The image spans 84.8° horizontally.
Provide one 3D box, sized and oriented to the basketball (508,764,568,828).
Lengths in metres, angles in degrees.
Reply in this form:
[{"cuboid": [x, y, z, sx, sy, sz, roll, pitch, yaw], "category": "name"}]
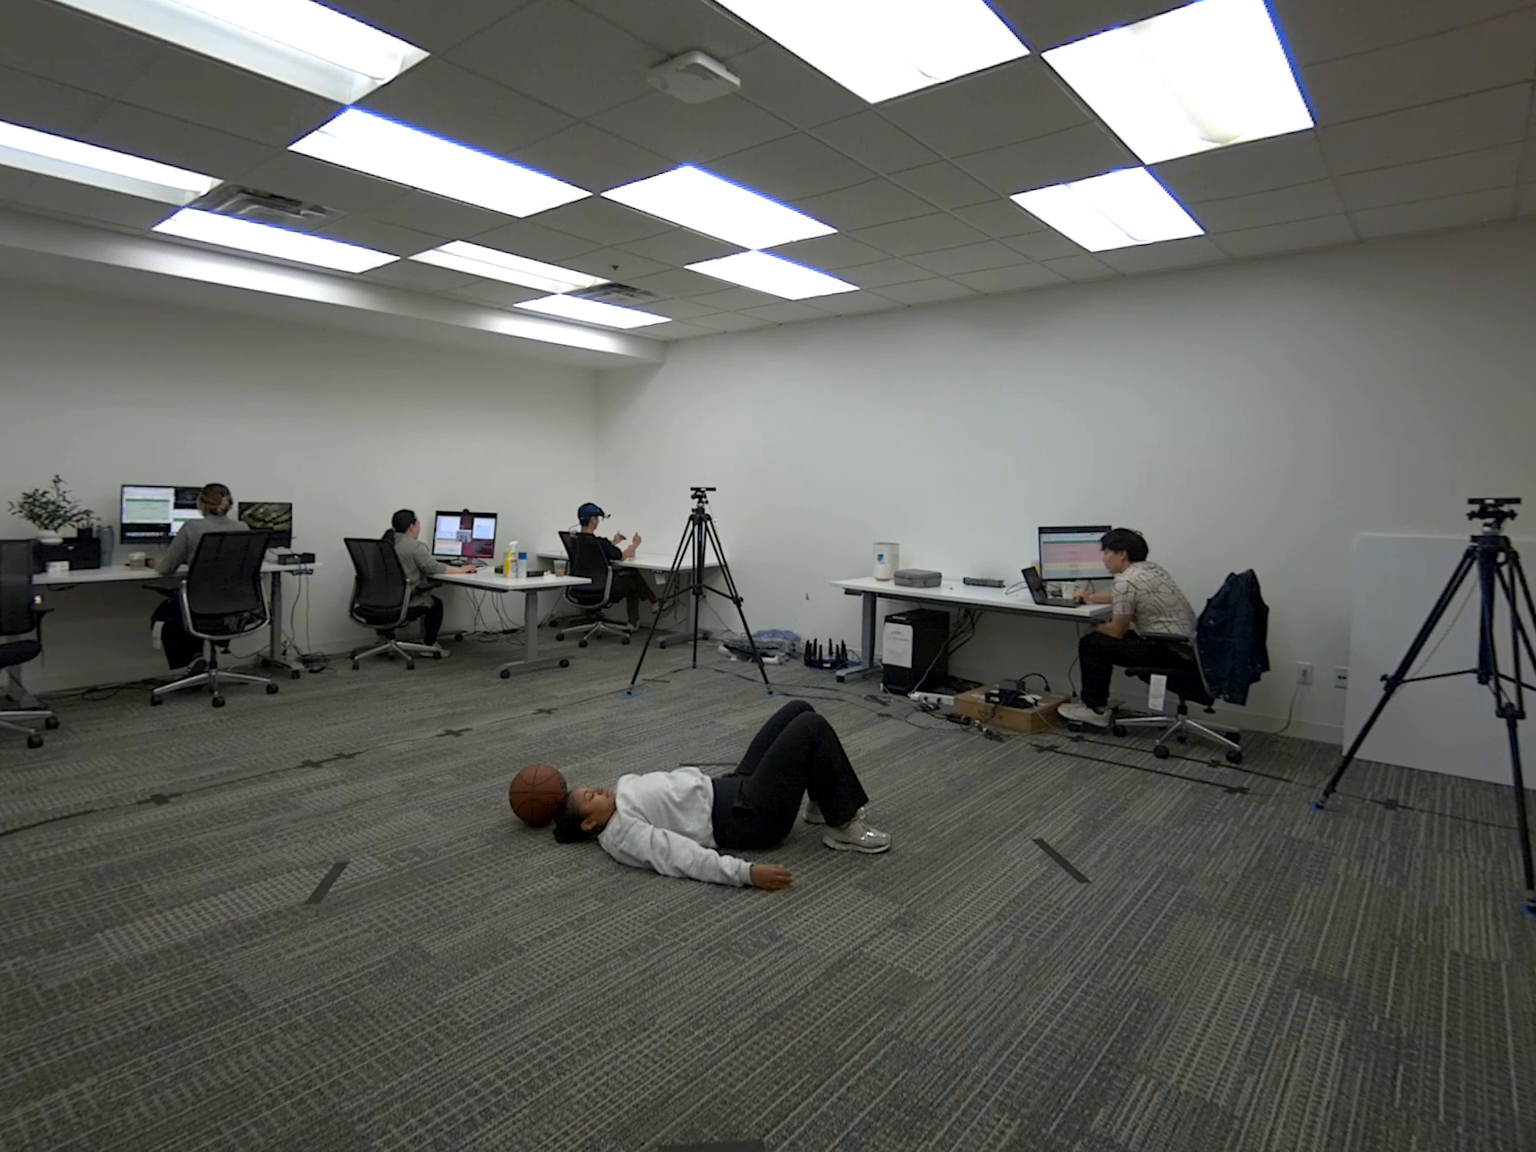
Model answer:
[{"cuboid": [-0.960, 0.891, 3.507, 0.235, 0.235, 0.237, 1, 4, -2], "category": "basketball"}]
